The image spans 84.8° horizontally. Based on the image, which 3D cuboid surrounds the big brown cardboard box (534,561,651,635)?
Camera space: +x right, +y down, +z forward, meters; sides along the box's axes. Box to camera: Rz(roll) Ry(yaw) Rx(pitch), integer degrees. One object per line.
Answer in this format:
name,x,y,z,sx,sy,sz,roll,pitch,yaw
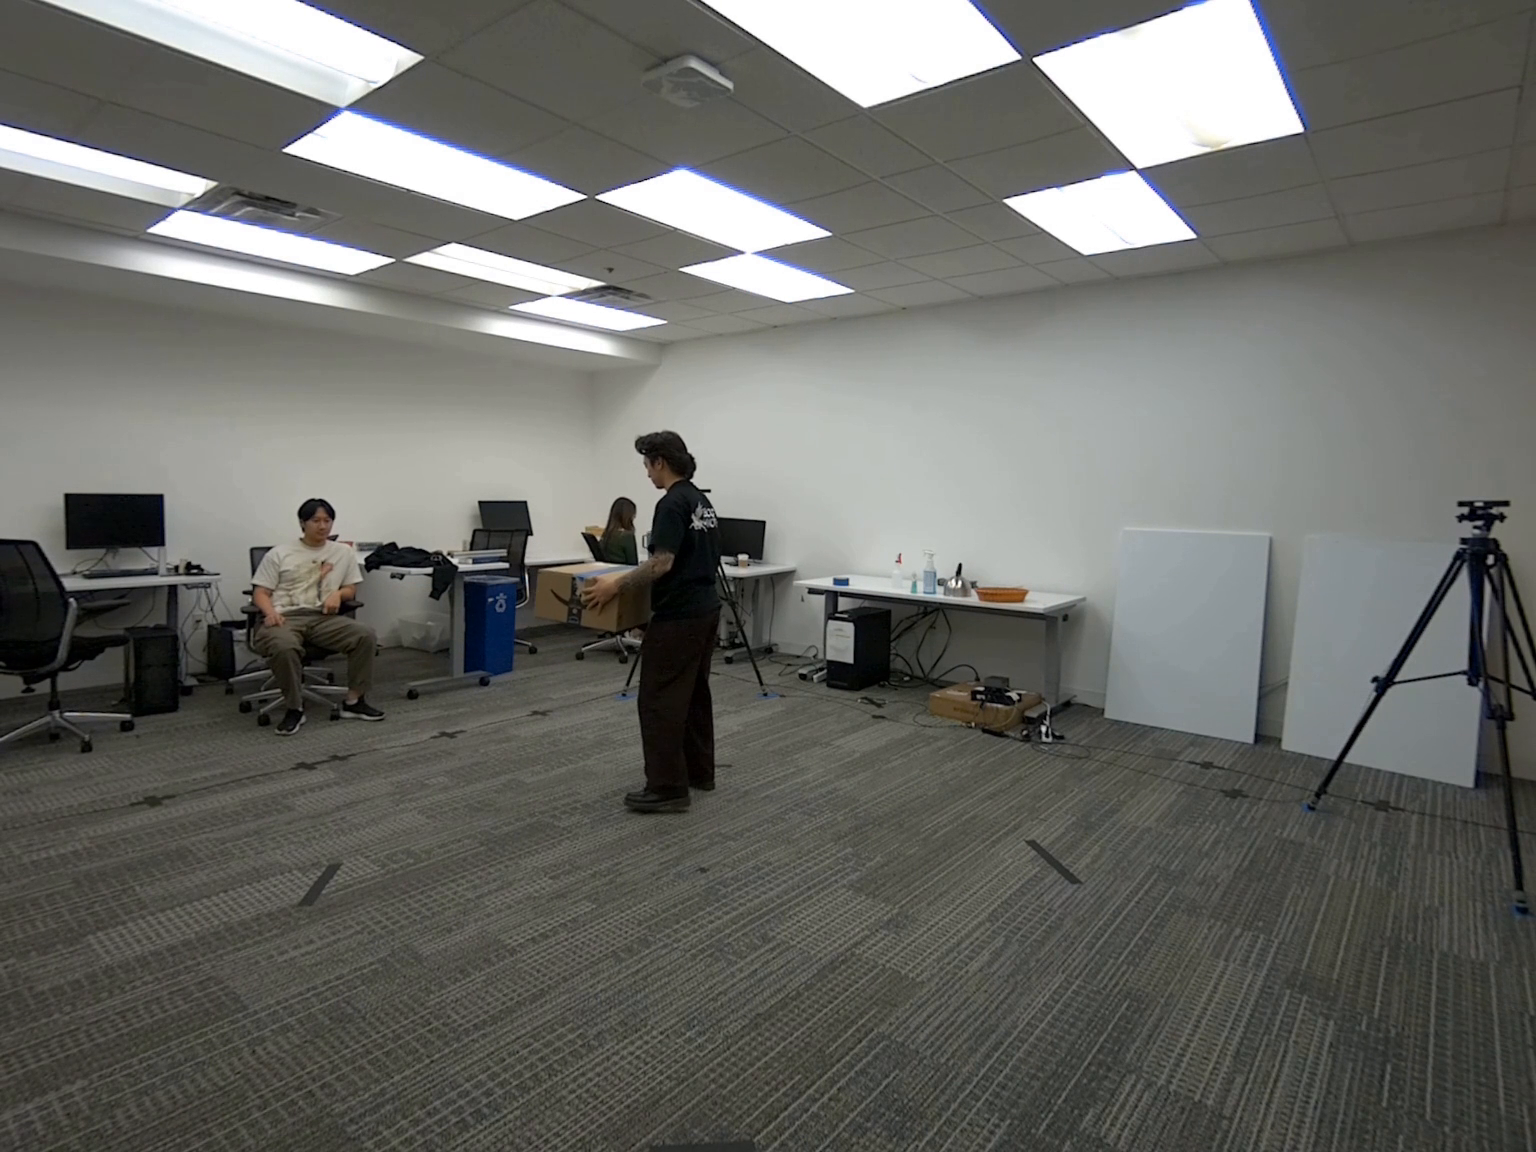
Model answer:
big brown cardboard box,-0.775,0.077,3.979,0.427,0.232,0.579,8,7,18
